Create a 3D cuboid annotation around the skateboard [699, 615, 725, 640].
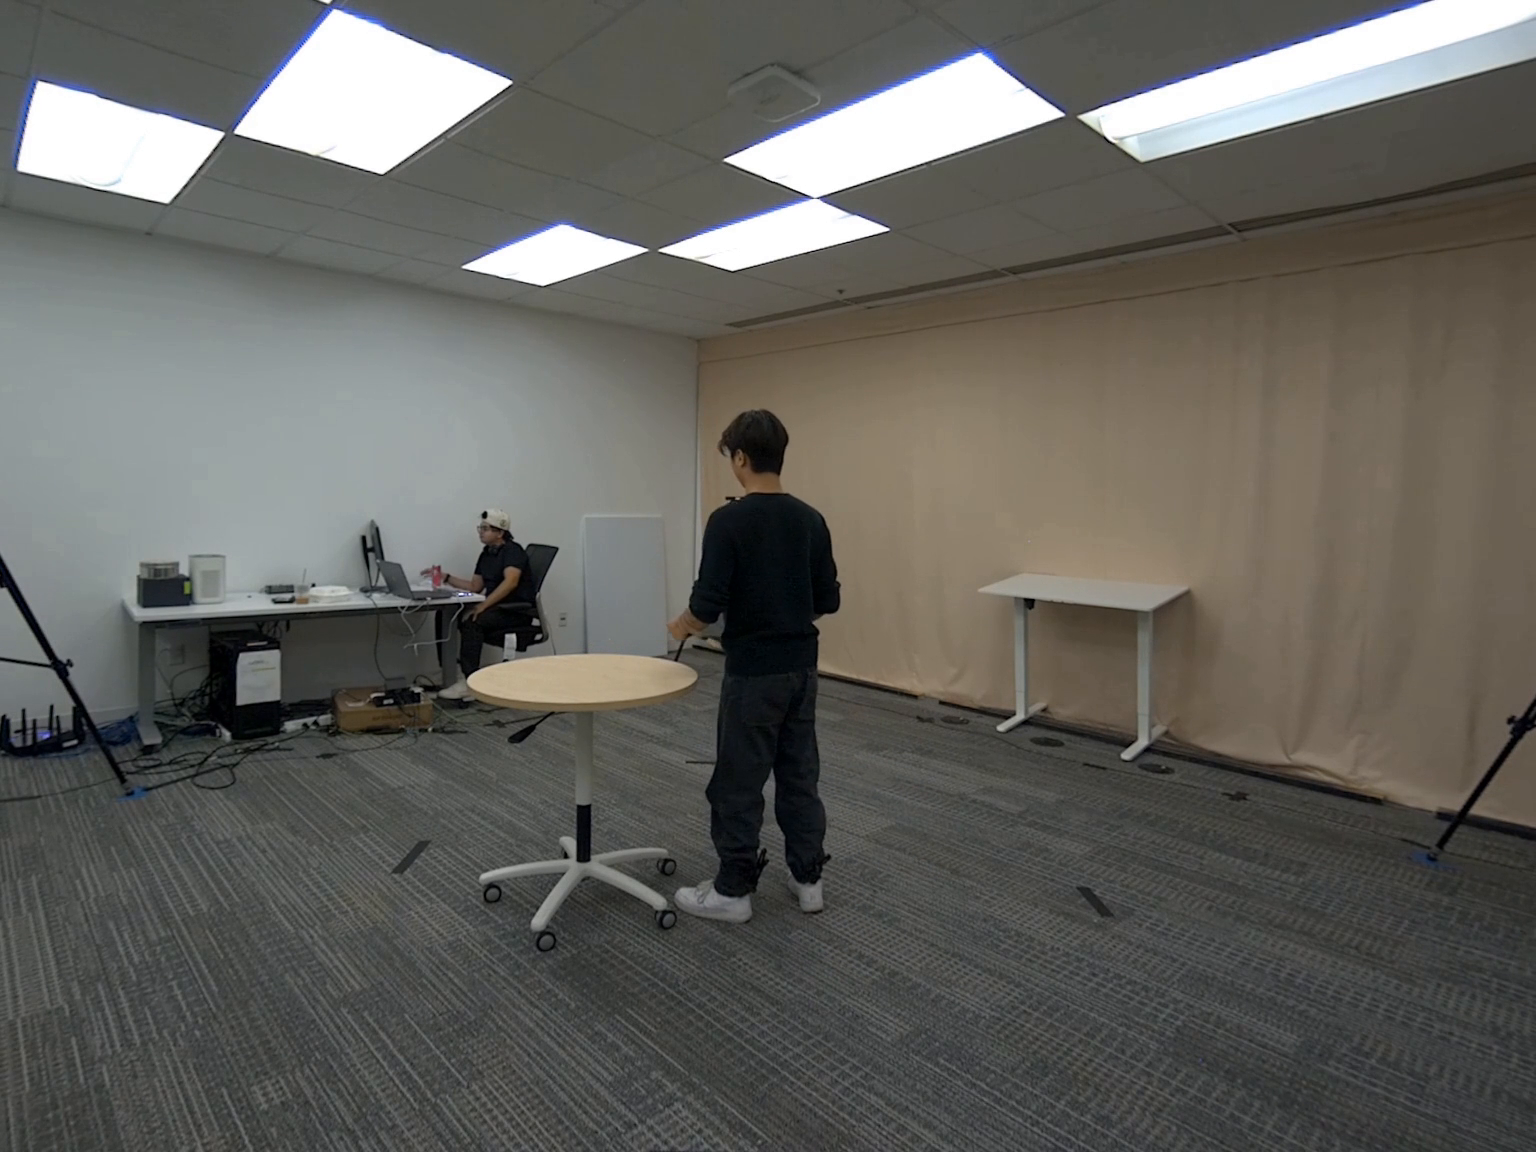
[{"bbox_3d":[-0.046,0.181,3.176,0.199,0.109,0.771,17,19,35],"label":"skateboard"}]
